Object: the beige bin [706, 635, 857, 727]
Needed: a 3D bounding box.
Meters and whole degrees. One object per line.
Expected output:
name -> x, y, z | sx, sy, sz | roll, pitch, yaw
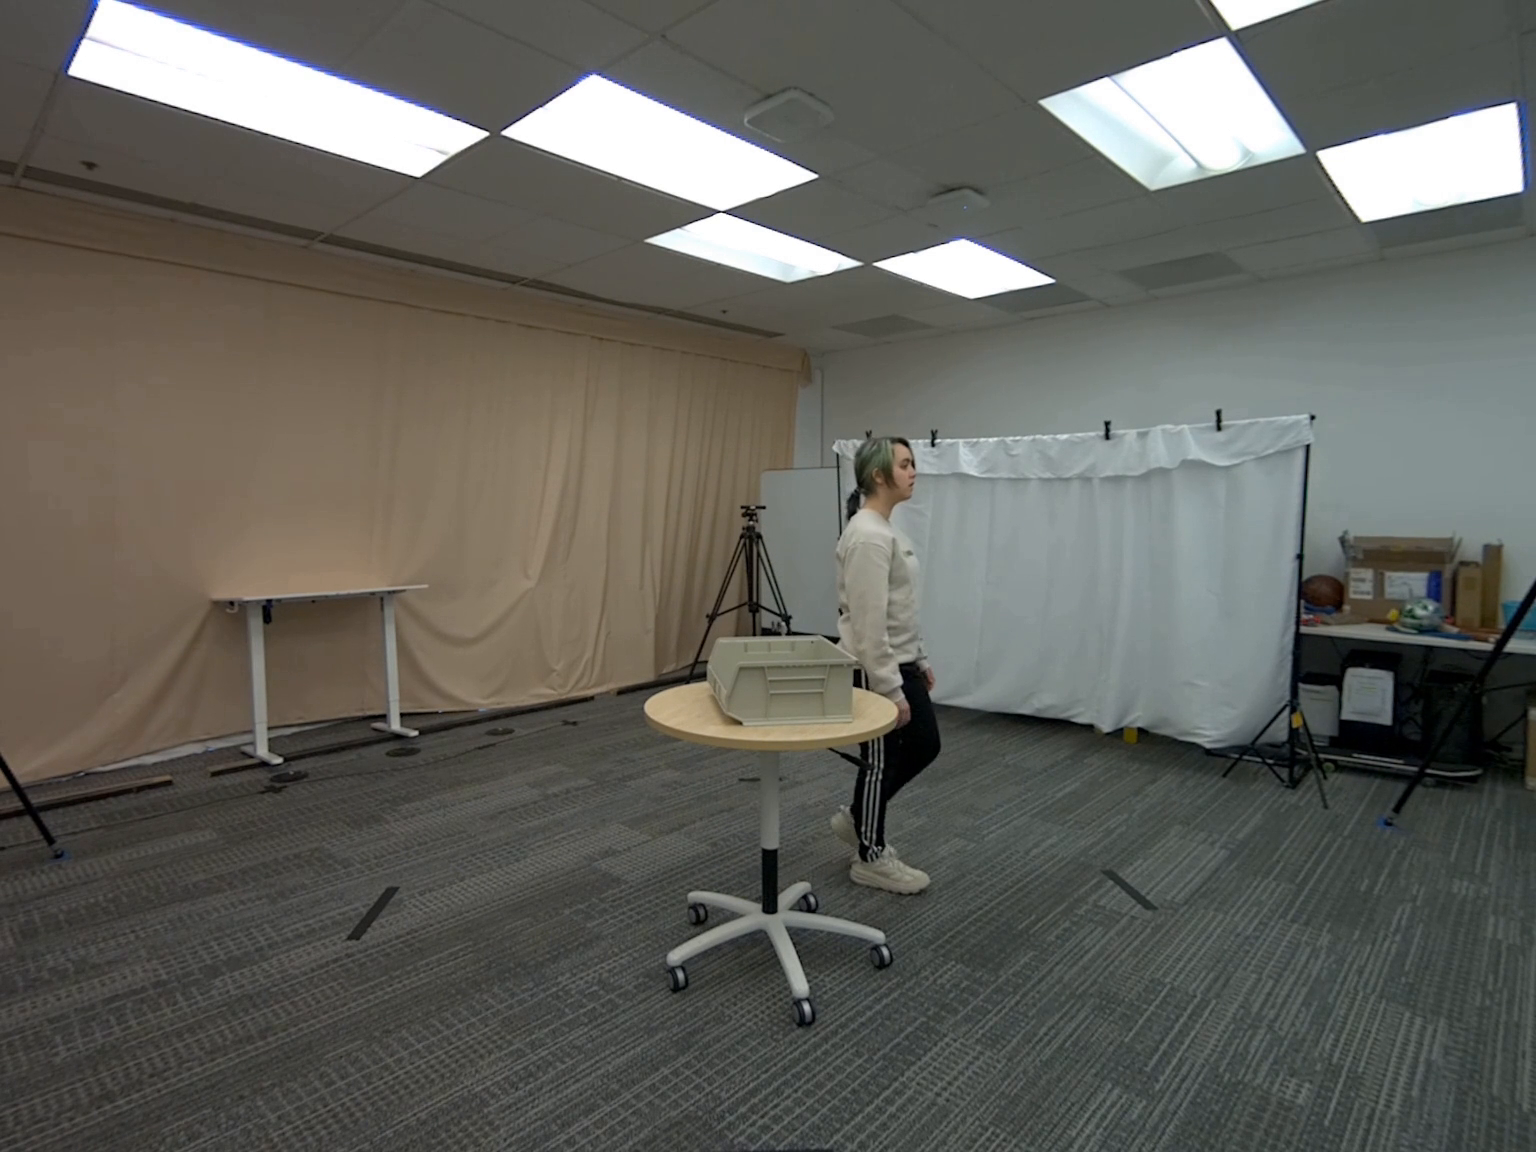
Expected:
beige bin -> 0.024, 0.317, 2.544 | 0.375, 0.188, 0.427 | -3, 5, -7
